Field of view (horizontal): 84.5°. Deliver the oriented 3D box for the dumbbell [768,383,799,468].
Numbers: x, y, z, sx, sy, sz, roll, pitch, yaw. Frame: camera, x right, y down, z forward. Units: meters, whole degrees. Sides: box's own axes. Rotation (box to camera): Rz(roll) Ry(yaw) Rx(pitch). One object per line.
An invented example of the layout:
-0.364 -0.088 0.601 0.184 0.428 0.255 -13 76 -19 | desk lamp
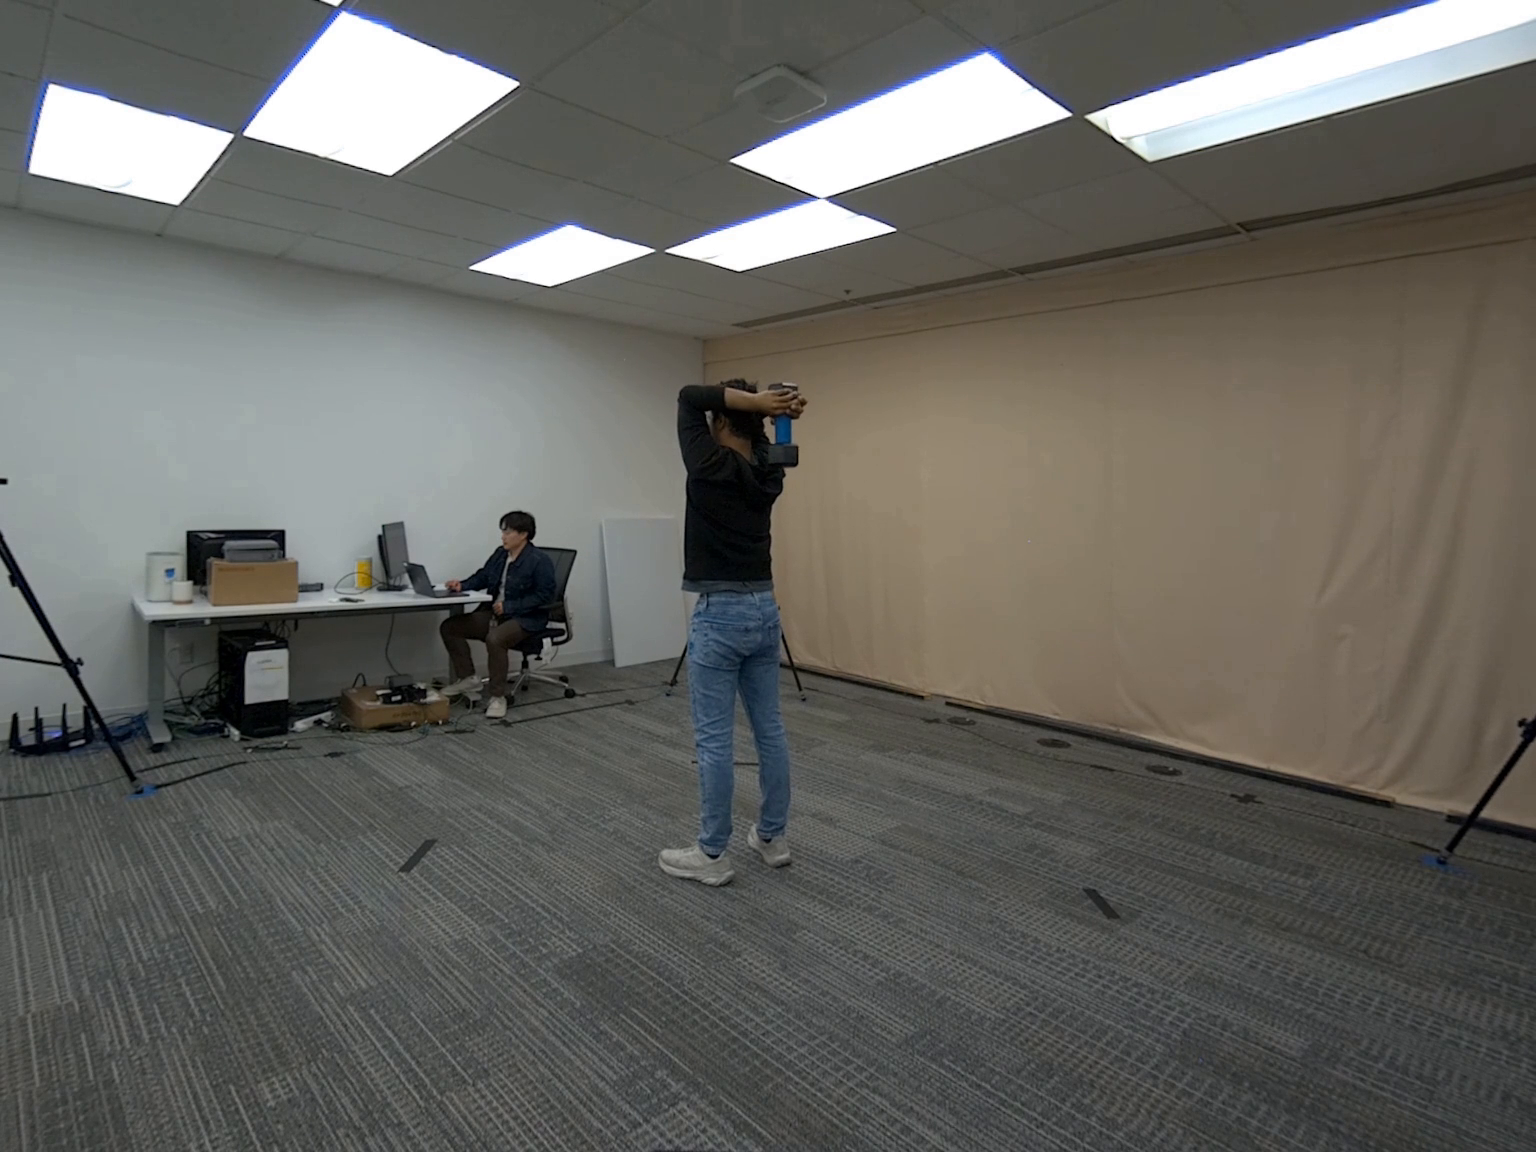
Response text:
0.034 -0.540 2.999 0.120 0.293 0.111 -2 1 -34 | dumbbell
